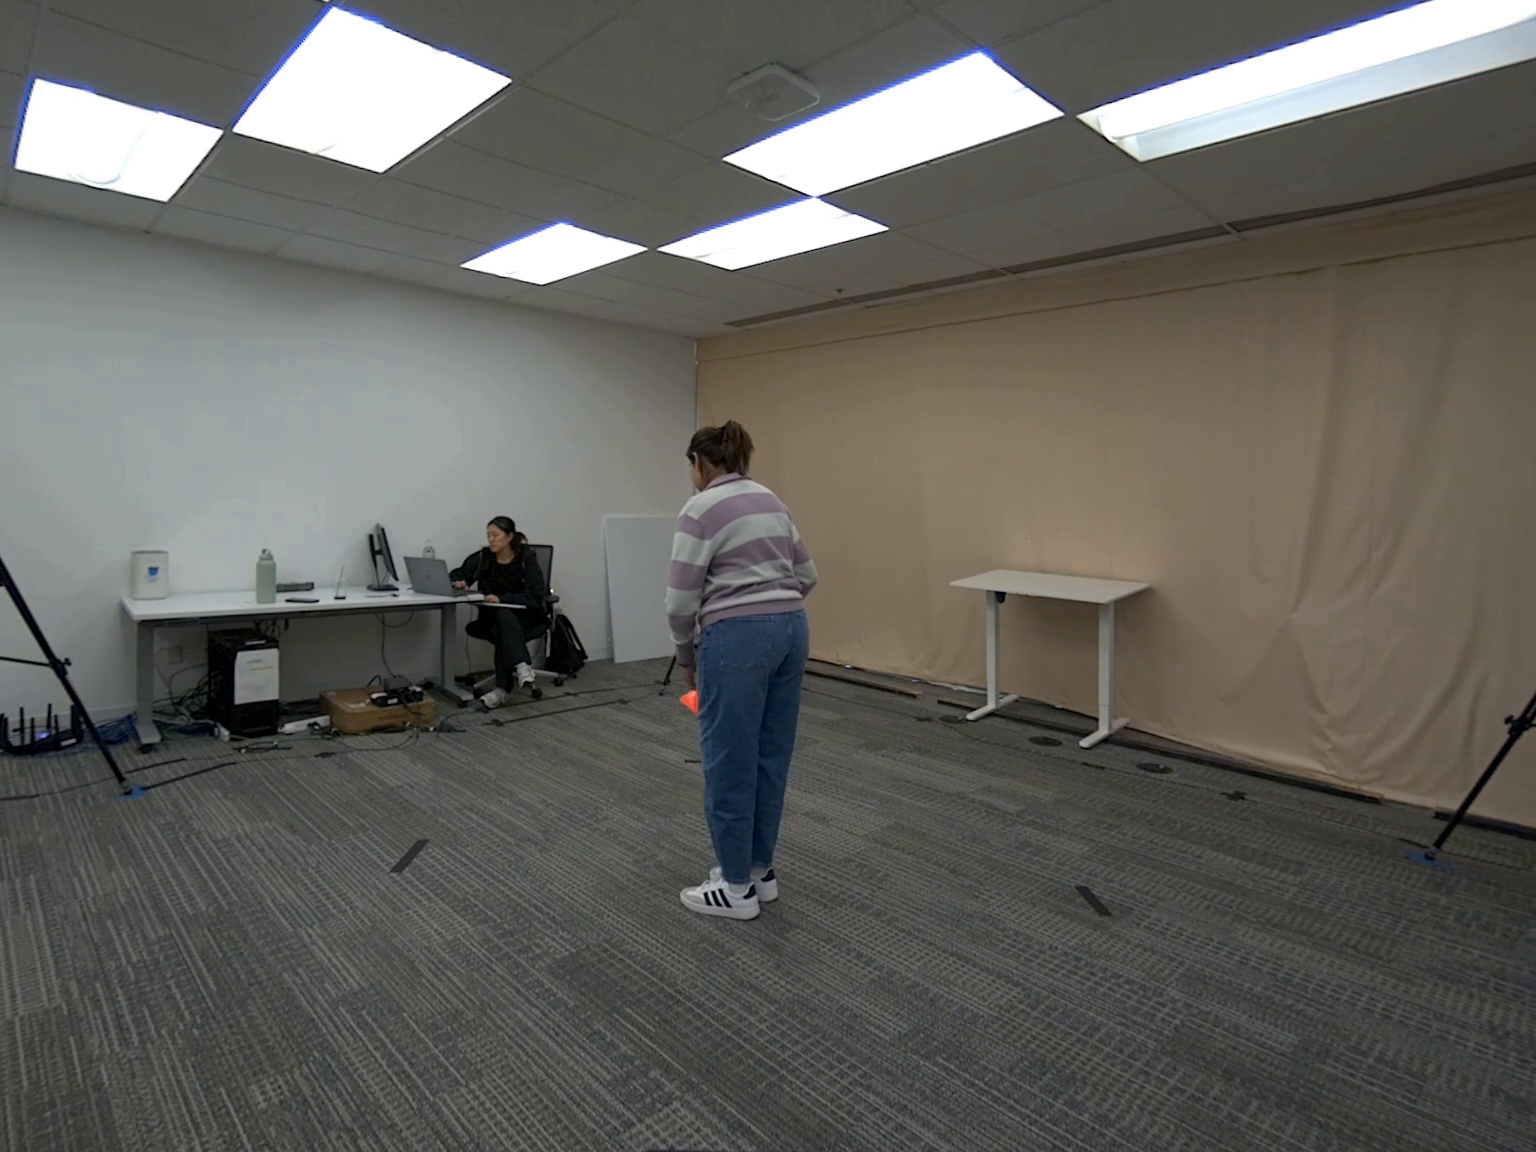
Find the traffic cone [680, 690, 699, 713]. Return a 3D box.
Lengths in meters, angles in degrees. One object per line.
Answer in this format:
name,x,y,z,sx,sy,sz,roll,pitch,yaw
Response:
traffic cone,-0.169,0.361,3.223,0.207,0.379,0.203,30,31,19
